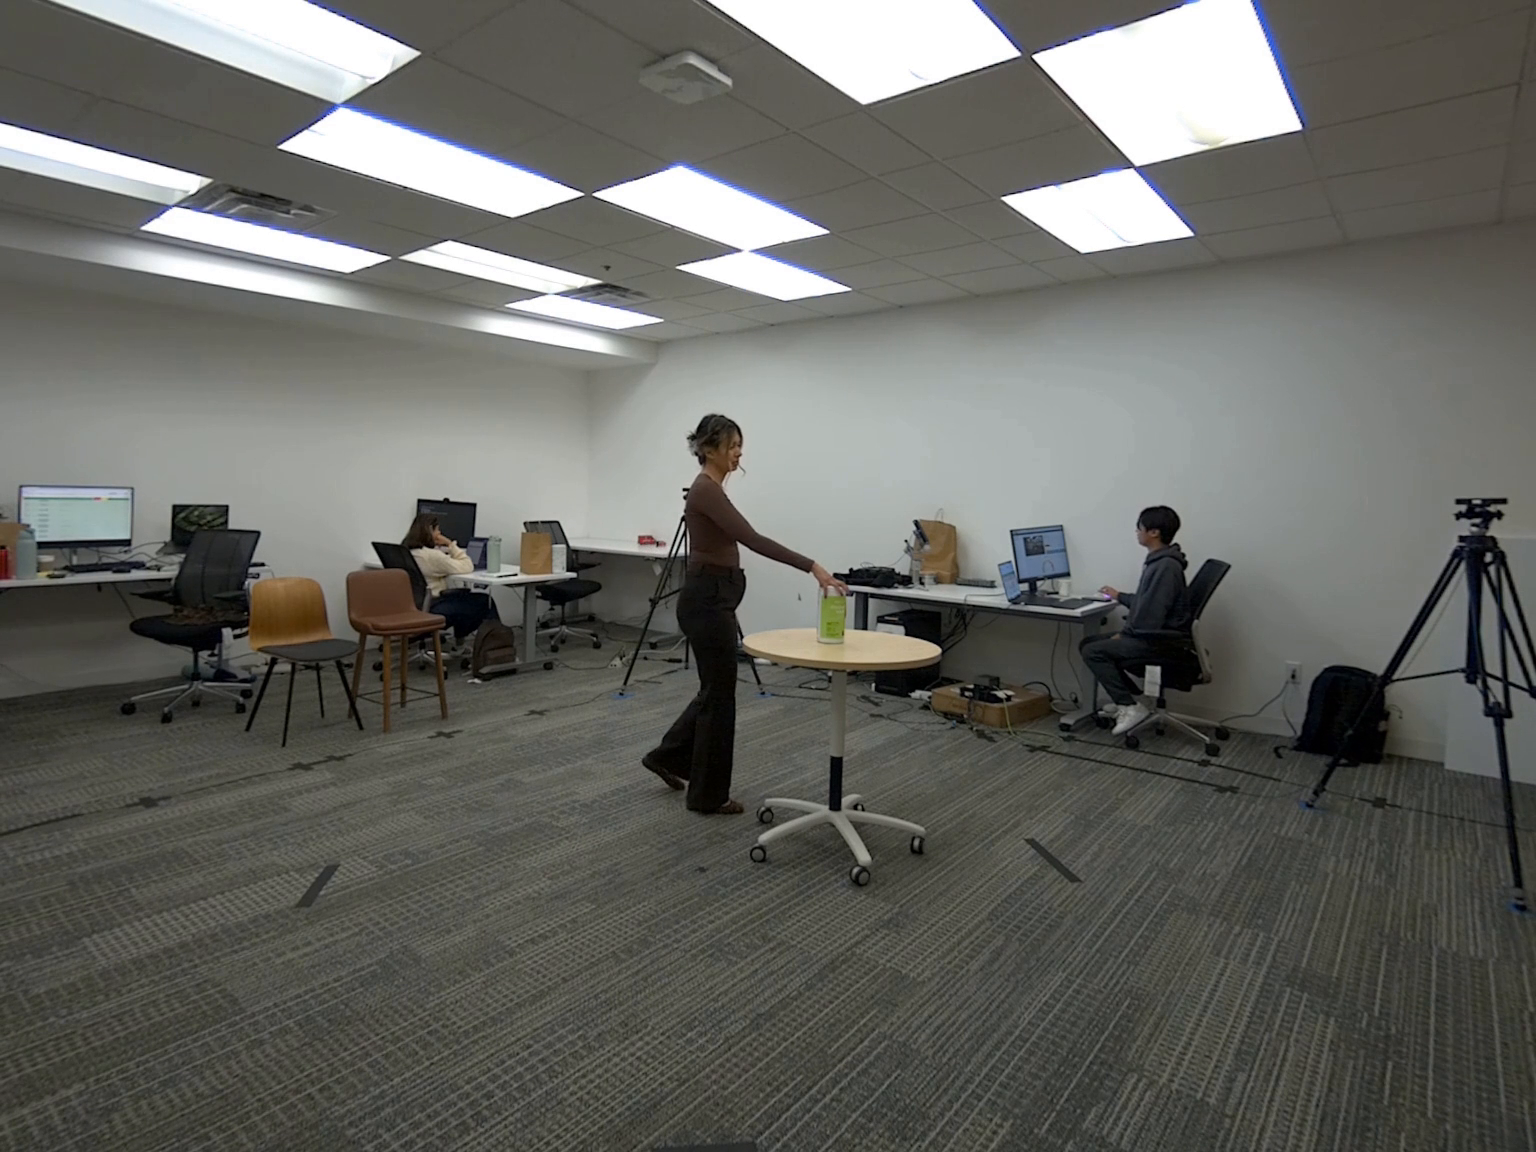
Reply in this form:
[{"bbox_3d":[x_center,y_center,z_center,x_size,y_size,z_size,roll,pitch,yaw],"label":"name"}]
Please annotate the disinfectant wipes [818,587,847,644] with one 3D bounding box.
[{"bbox_3d":[0.239,0.151,3.360,0.117,0.217,0.118,1,4,-2],"label":"disinfectant wipes"}]
